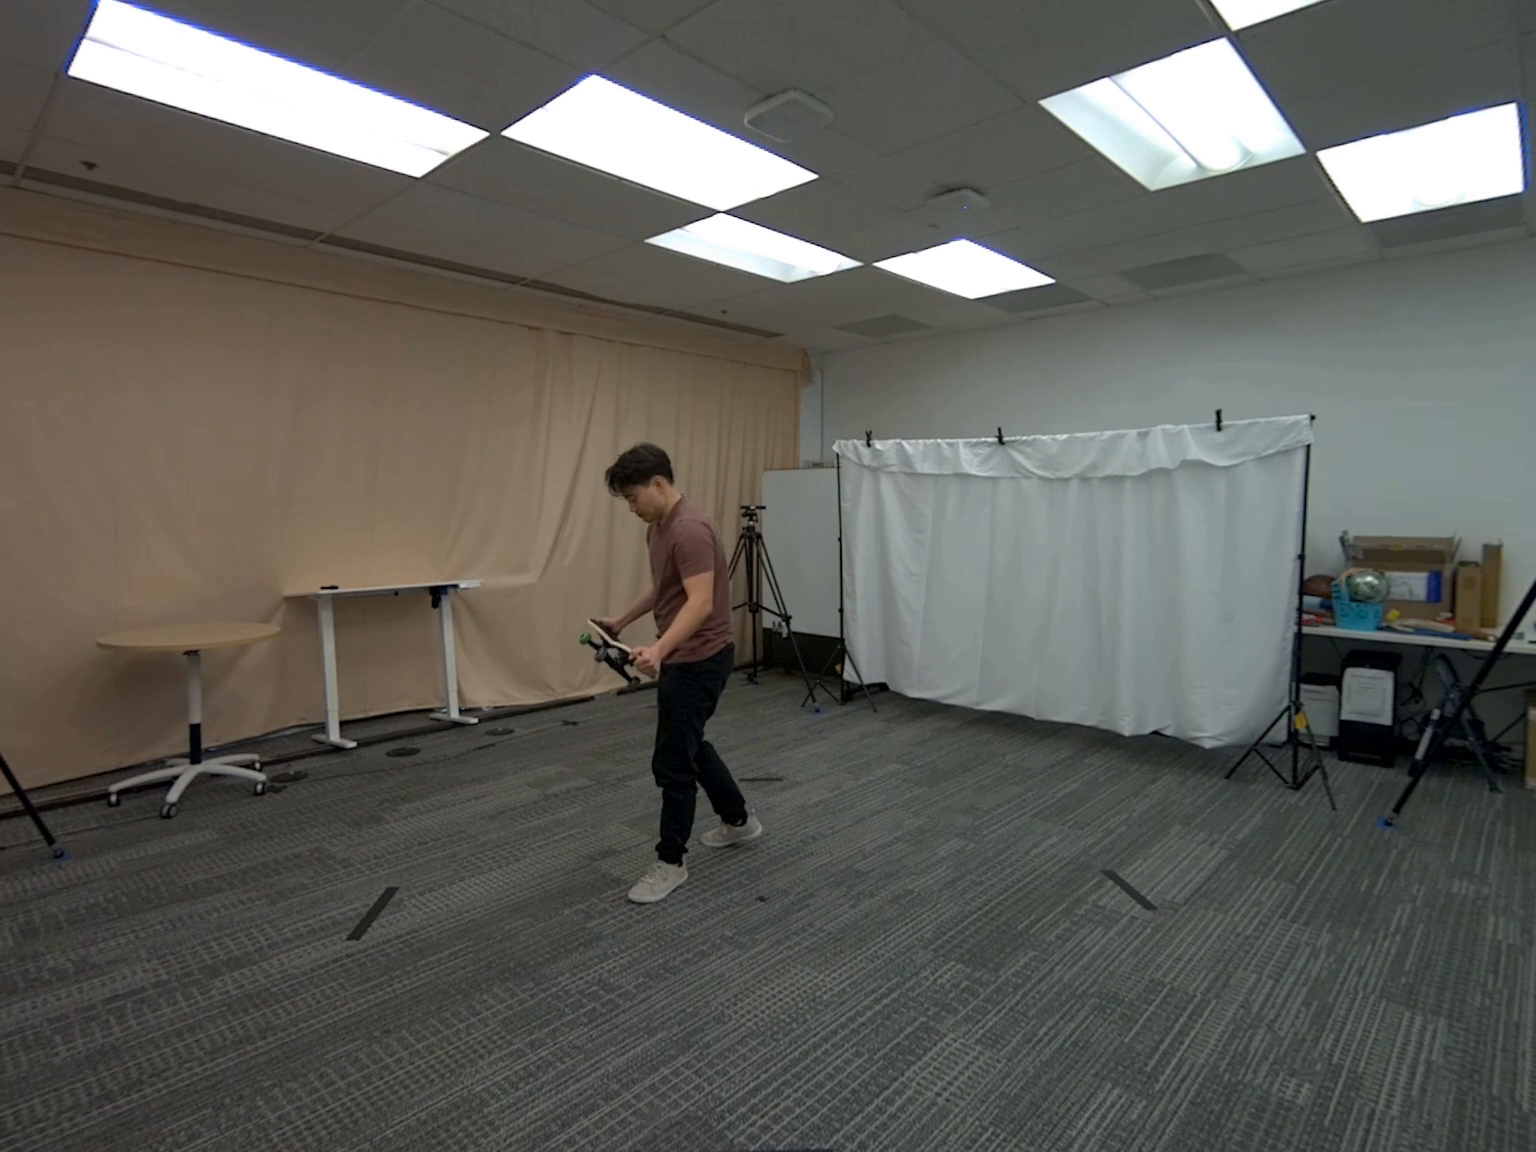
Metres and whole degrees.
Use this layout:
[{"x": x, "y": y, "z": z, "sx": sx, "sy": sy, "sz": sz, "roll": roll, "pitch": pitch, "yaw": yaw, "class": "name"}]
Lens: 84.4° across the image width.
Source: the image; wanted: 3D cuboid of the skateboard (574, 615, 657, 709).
[{"x": -0.556, "y": 0.294, "z": 3.103, "sx": 0.190, "sy": 0.110, "sz": 0.801, "roll": 45, "pitch": -11, "yaw": -16, "class": "skateboard"}]
